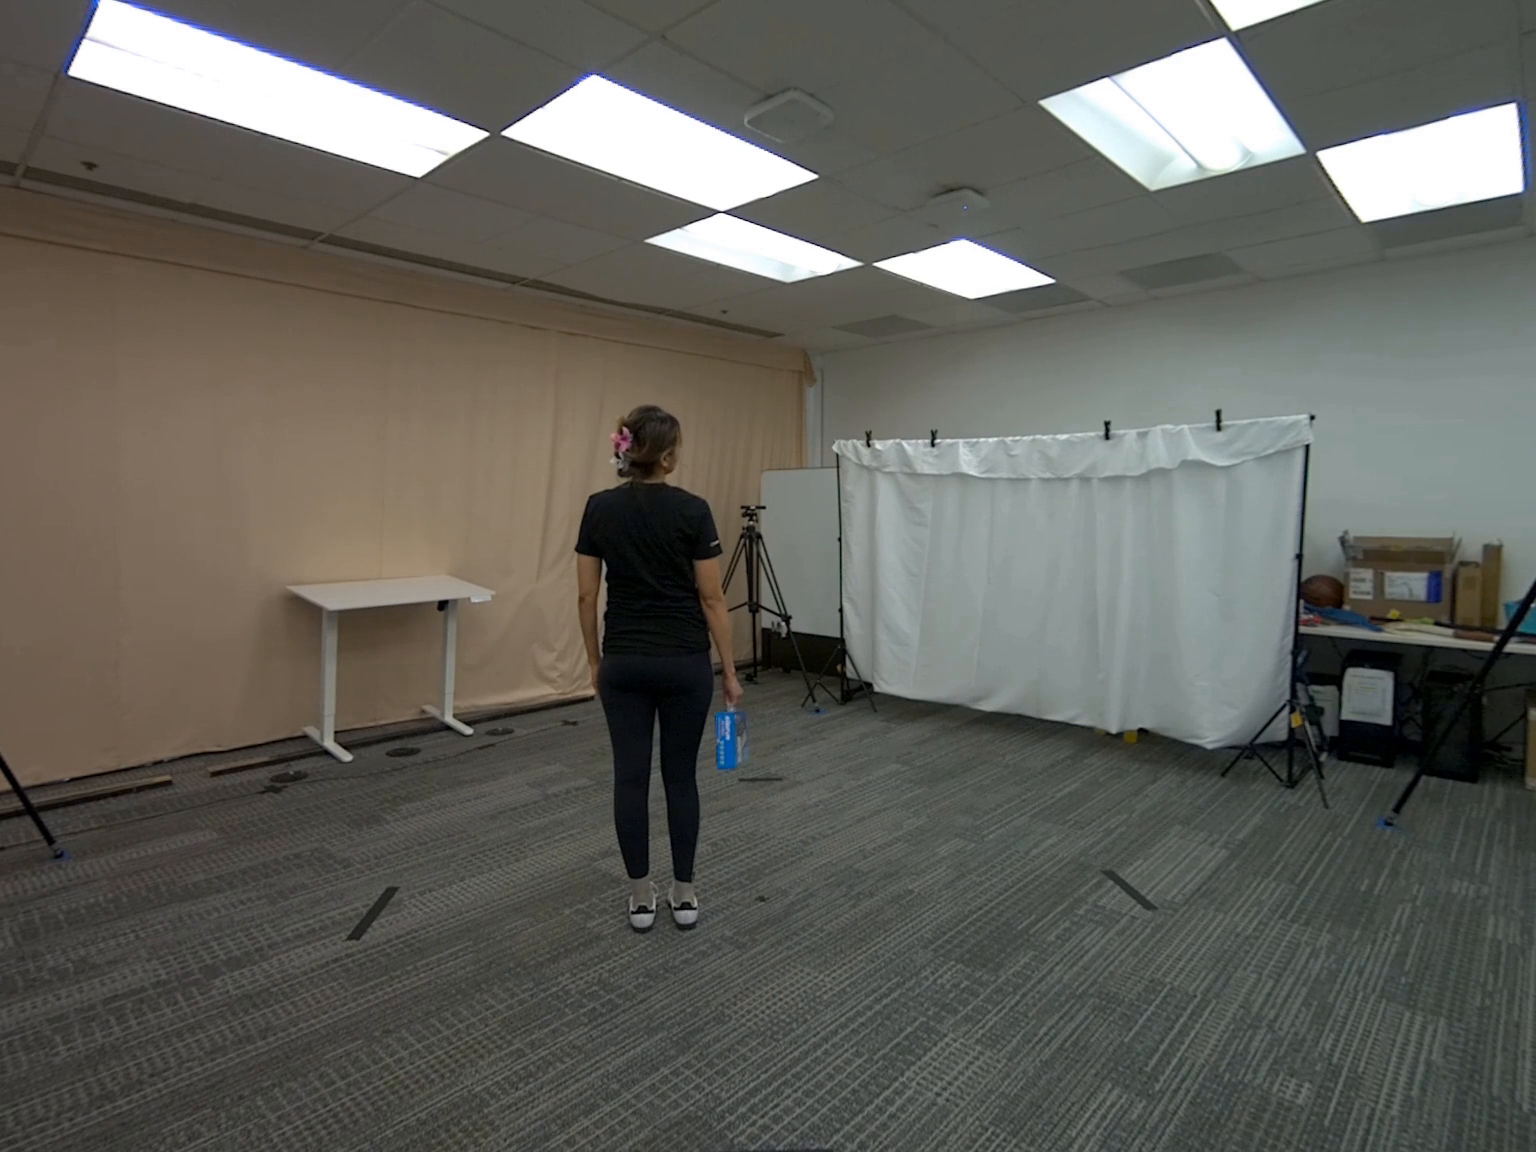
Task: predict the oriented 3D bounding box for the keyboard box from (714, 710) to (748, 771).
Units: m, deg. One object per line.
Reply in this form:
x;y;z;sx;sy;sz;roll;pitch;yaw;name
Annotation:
-0.116;0.544;2.824;0.059;0.177;0.432;-3;-8;2;keyboard box
